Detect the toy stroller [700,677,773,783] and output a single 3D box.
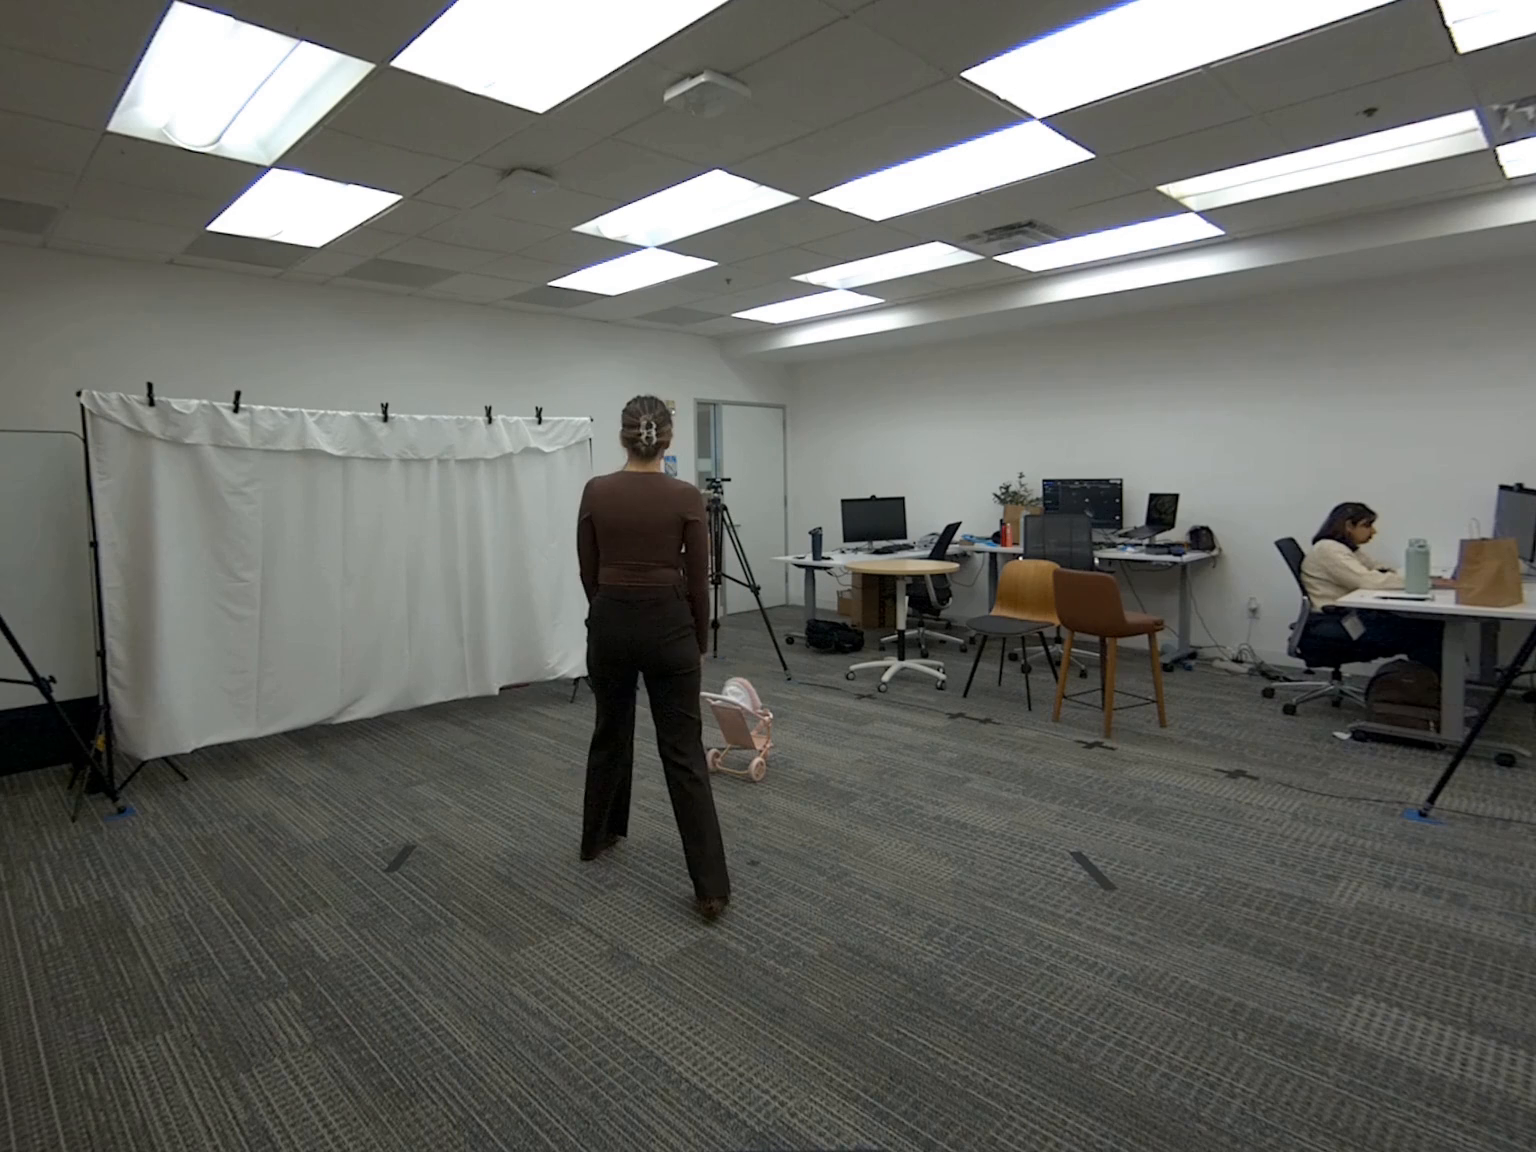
[{"bbox_3d":[-0.121,0.714,4.058,0.290,0.525,0.337,3,22,37],"label":"toy stroller"}]
